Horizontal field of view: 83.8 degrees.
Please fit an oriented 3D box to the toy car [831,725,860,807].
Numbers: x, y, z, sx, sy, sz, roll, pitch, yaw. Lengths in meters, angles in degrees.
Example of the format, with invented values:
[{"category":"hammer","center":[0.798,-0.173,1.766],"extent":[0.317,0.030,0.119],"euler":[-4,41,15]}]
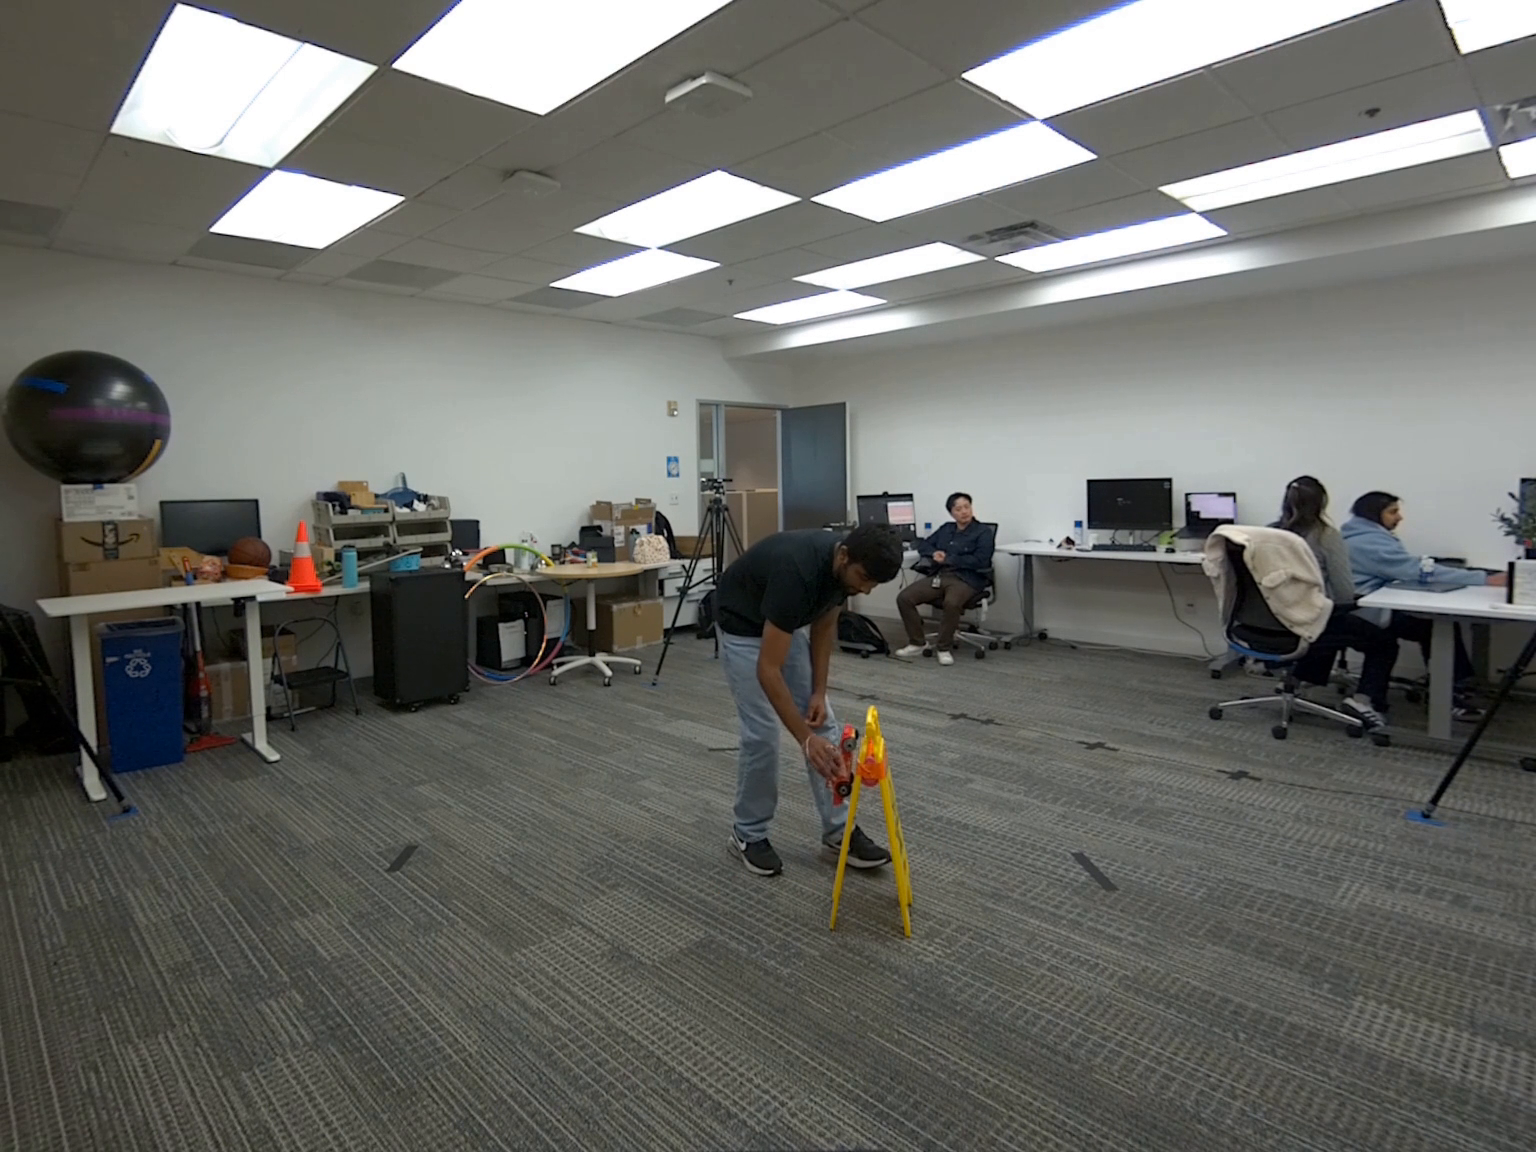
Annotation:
[{"category":"toy car","center":[0.254,0.617,2.699],"extent":[0.084,0.253,0.129],"euler":[19,8,8]}]
